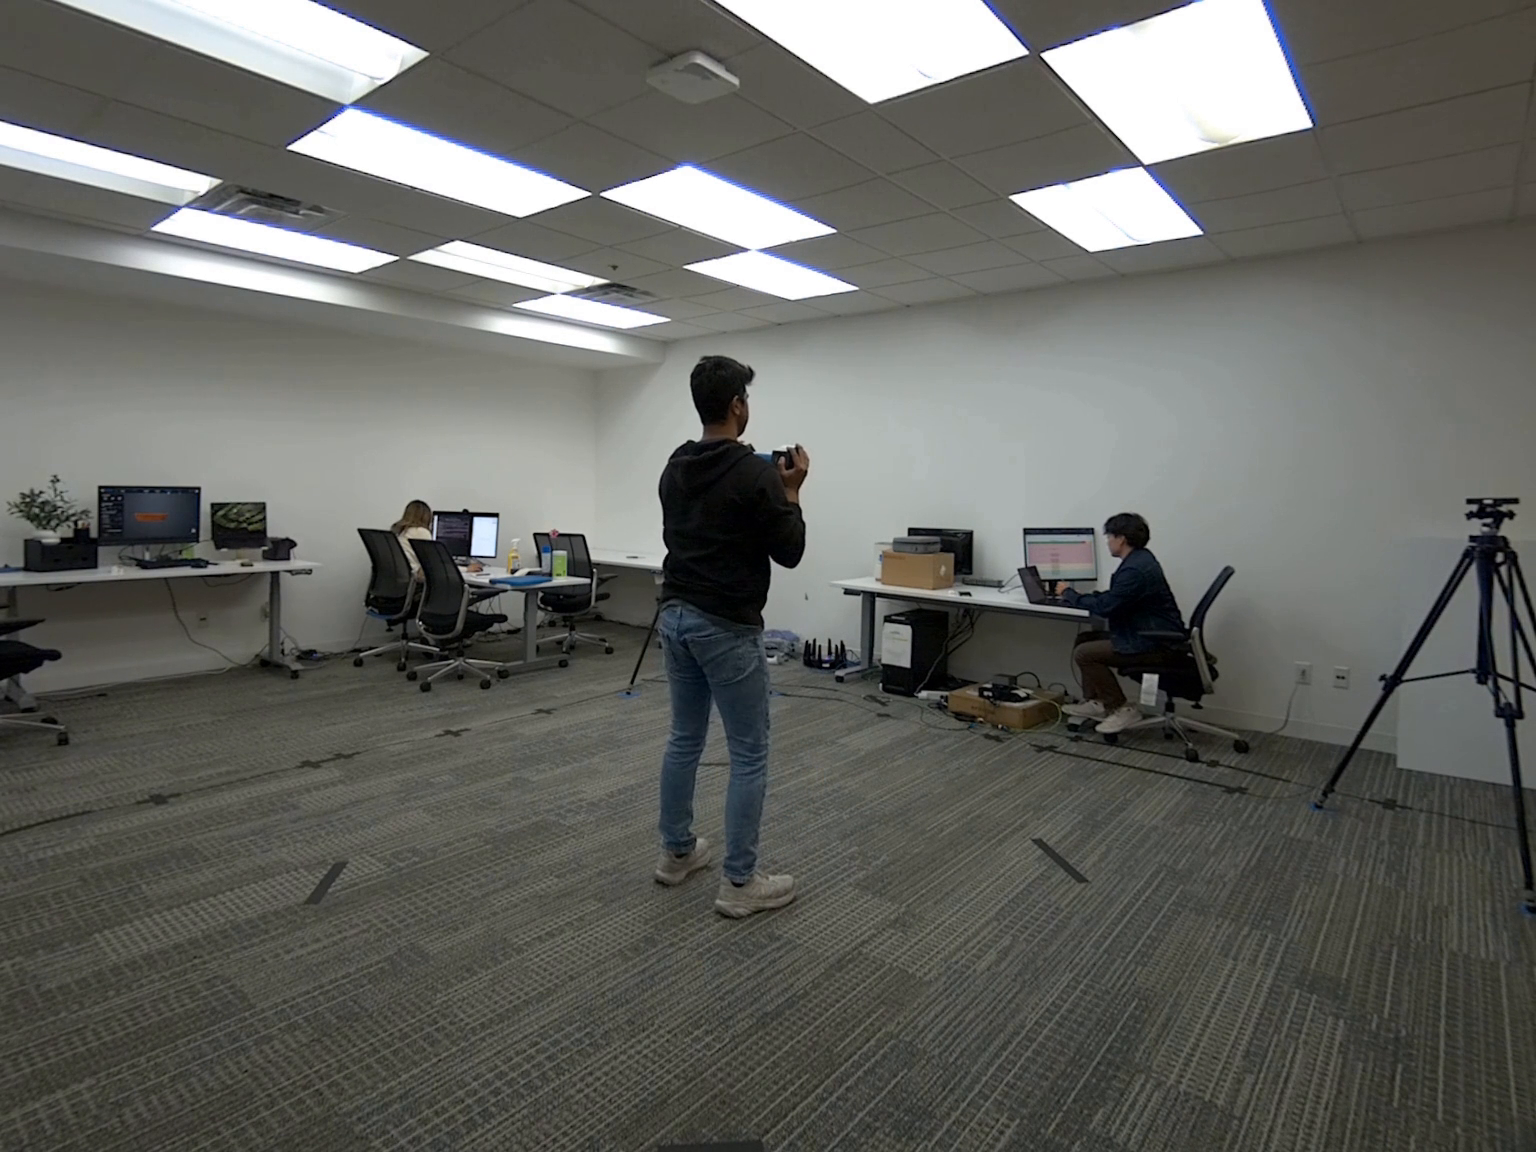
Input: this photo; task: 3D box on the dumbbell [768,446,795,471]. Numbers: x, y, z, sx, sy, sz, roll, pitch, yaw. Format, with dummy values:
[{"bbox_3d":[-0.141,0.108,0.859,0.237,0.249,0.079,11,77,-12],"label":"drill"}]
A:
[{"bbox_3d":[-0.032,-0.401,3.026,0.304,0.123,0.105,11,0,41],"label":"dumbbell"}]
